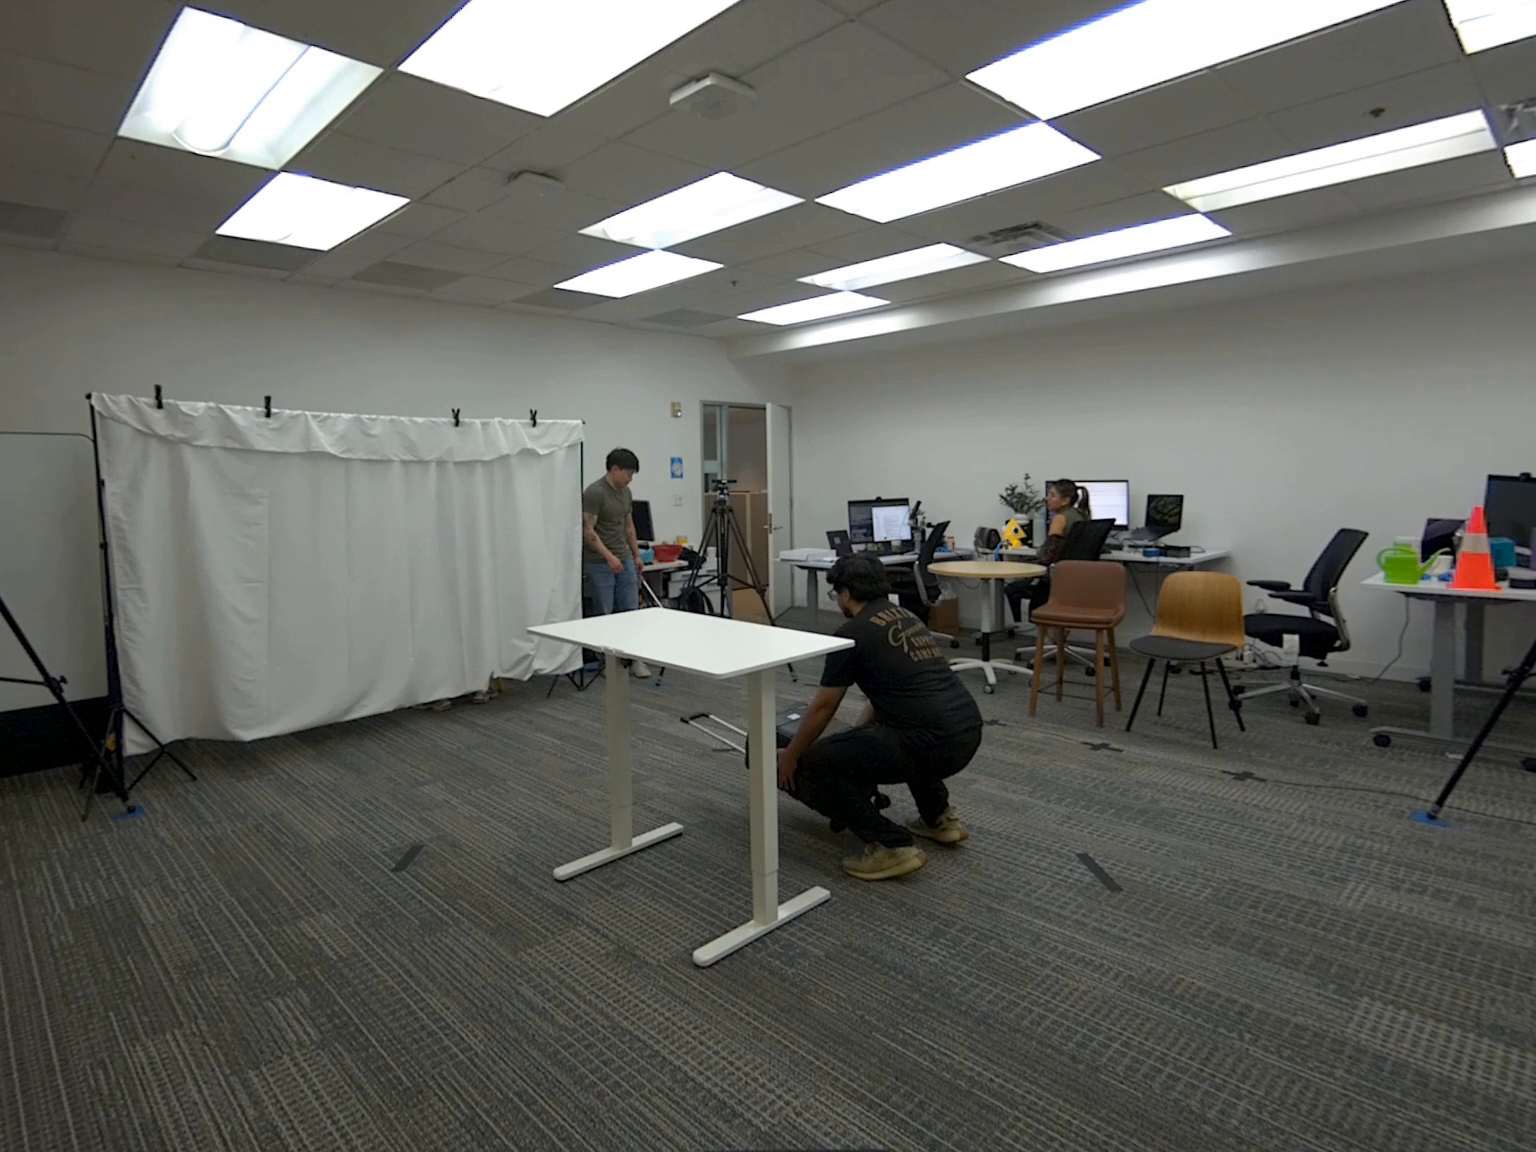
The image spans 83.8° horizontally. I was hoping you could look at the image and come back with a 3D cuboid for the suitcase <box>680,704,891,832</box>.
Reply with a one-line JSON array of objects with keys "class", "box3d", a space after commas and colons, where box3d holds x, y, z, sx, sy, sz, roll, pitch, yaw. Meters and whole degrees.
[{"class": "suitcase", "box3d": [0.048, 0.667, 3.597, 1.015, 0.254, 0.374, 22, 20, 40]}]
